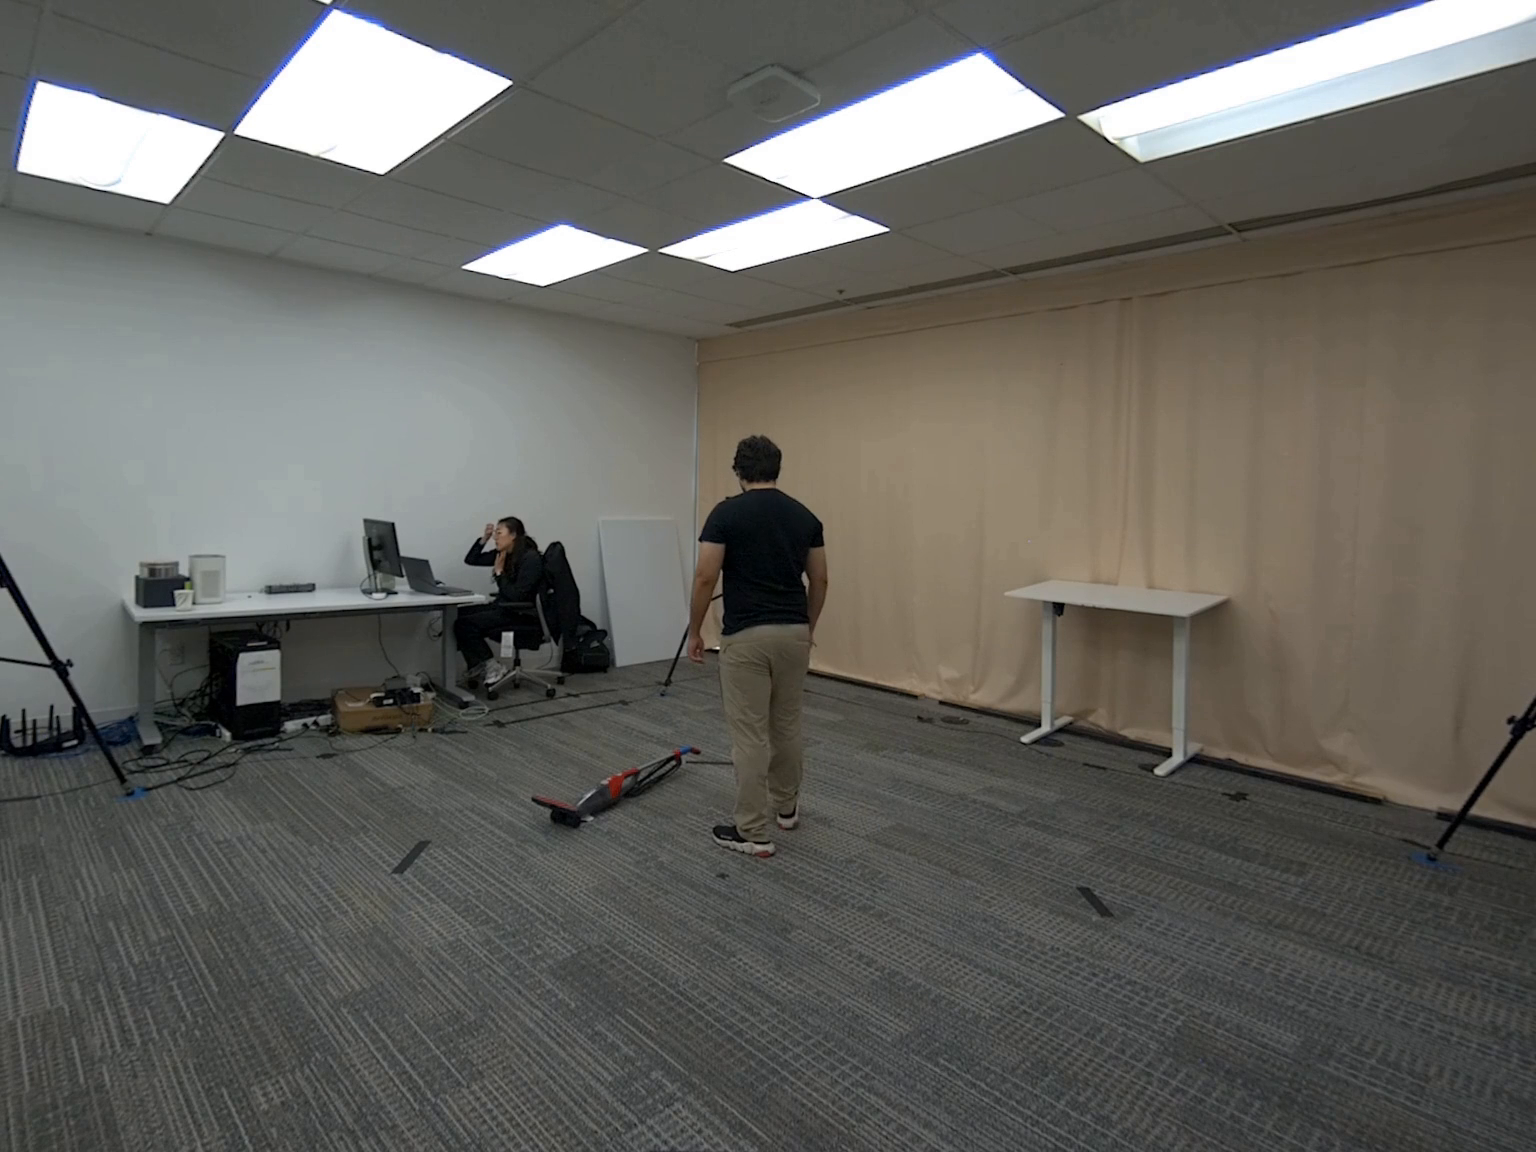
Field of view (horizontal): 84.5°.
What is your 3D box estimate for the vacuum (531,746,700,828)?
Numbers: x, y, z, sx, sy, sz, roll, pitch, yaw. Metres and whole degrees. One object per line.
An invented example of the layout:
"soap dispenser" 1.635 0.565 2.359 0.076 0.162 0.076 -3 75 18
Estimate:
"vacuum" -0.622 0.959 3.969 0.258 0.143 1.030 8 8 29
